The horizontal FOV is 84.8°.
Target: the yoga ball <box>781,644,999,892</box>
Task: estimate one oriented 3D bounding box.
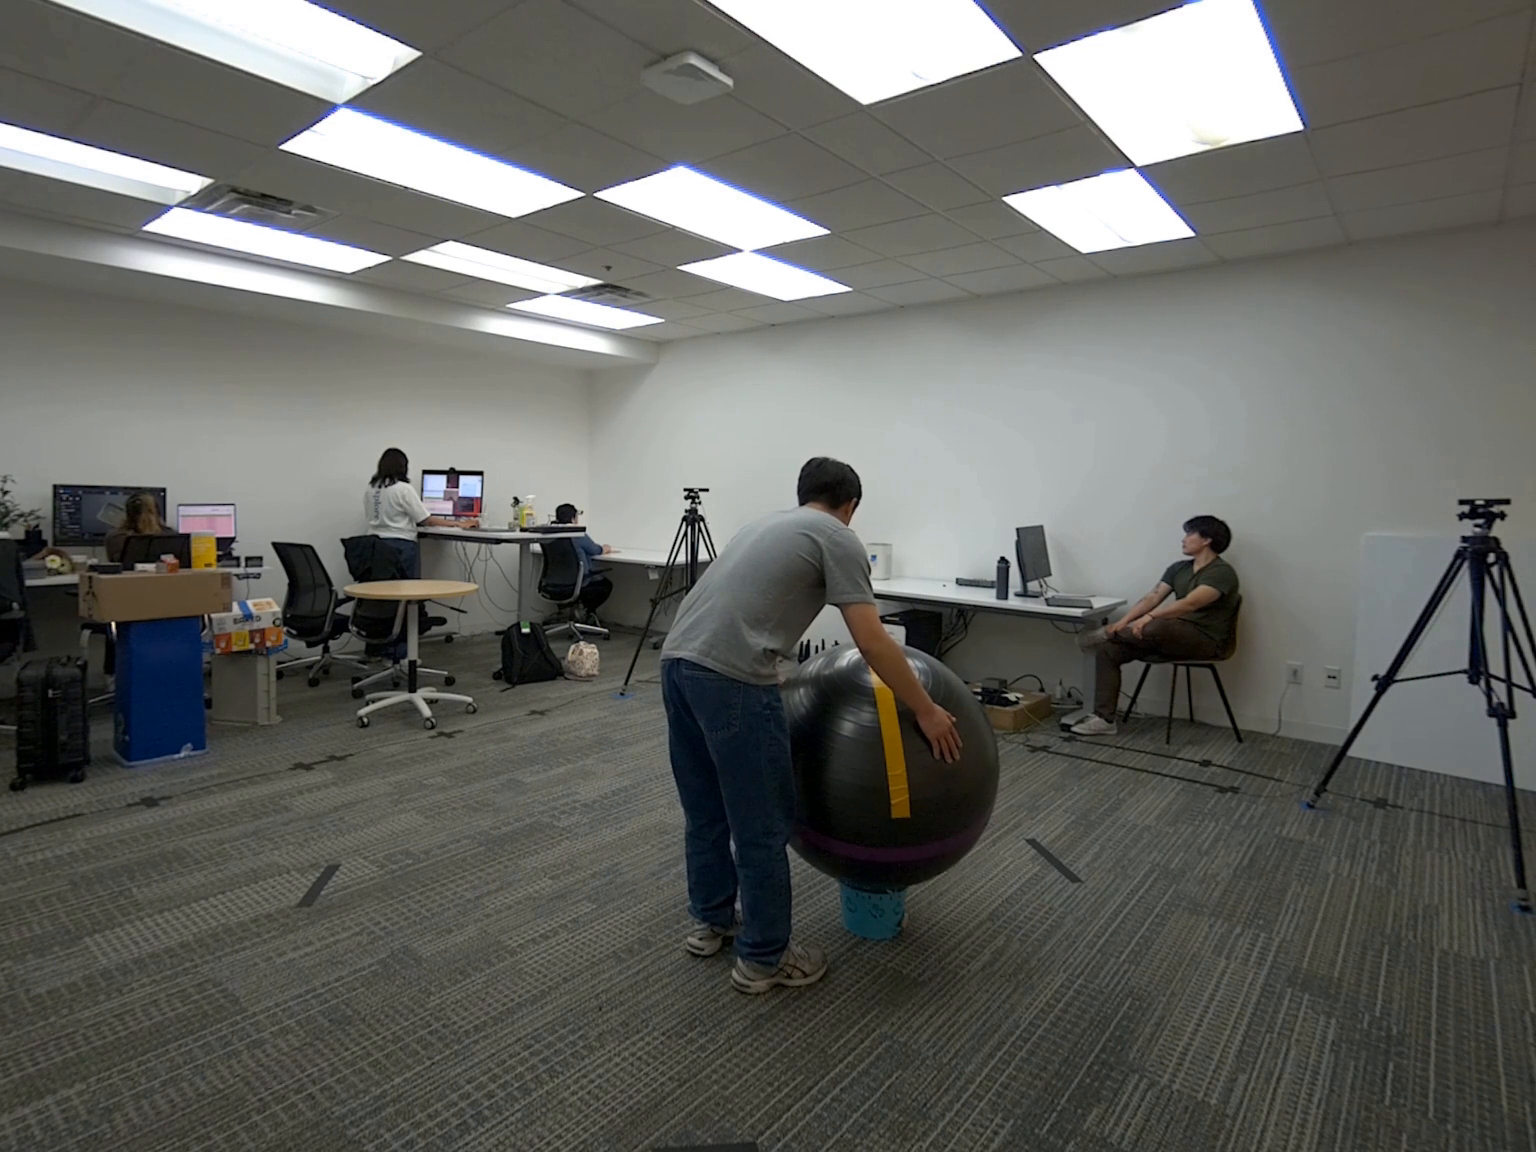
[{"bbox_3d":[0.350,0.584,2.722,0.757,0.756,0.761,1,4,-2],"label":"yoga ball"}]
